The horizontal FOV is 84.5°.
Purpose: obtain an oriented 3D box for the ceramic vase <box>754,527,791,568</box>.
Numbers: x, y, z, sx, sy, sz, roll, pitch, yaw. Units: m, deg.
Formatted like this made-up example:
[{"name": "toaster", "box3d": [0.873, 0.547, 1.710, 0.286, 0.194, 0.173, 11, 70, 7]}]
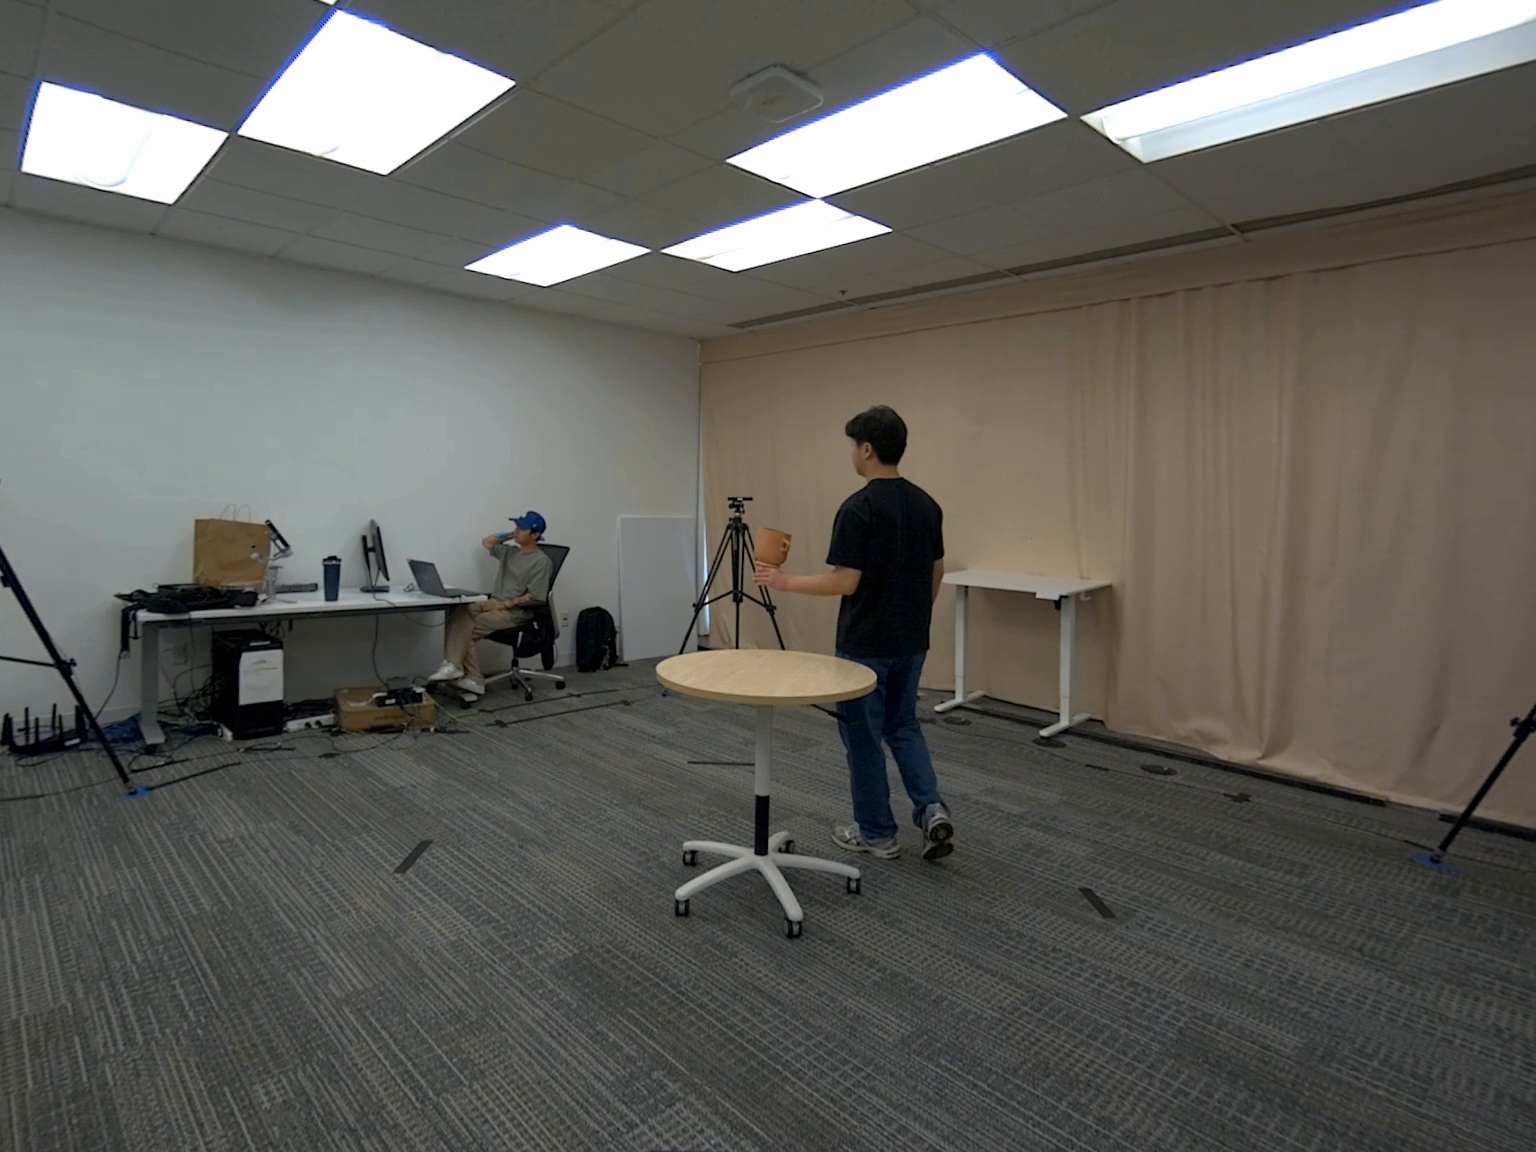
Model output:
[{"name": "ceramic vase", "box3d": [0.009, -0.073, 3.338, 0.135, 0.219, 0.159, 12, 4, 1]}]
